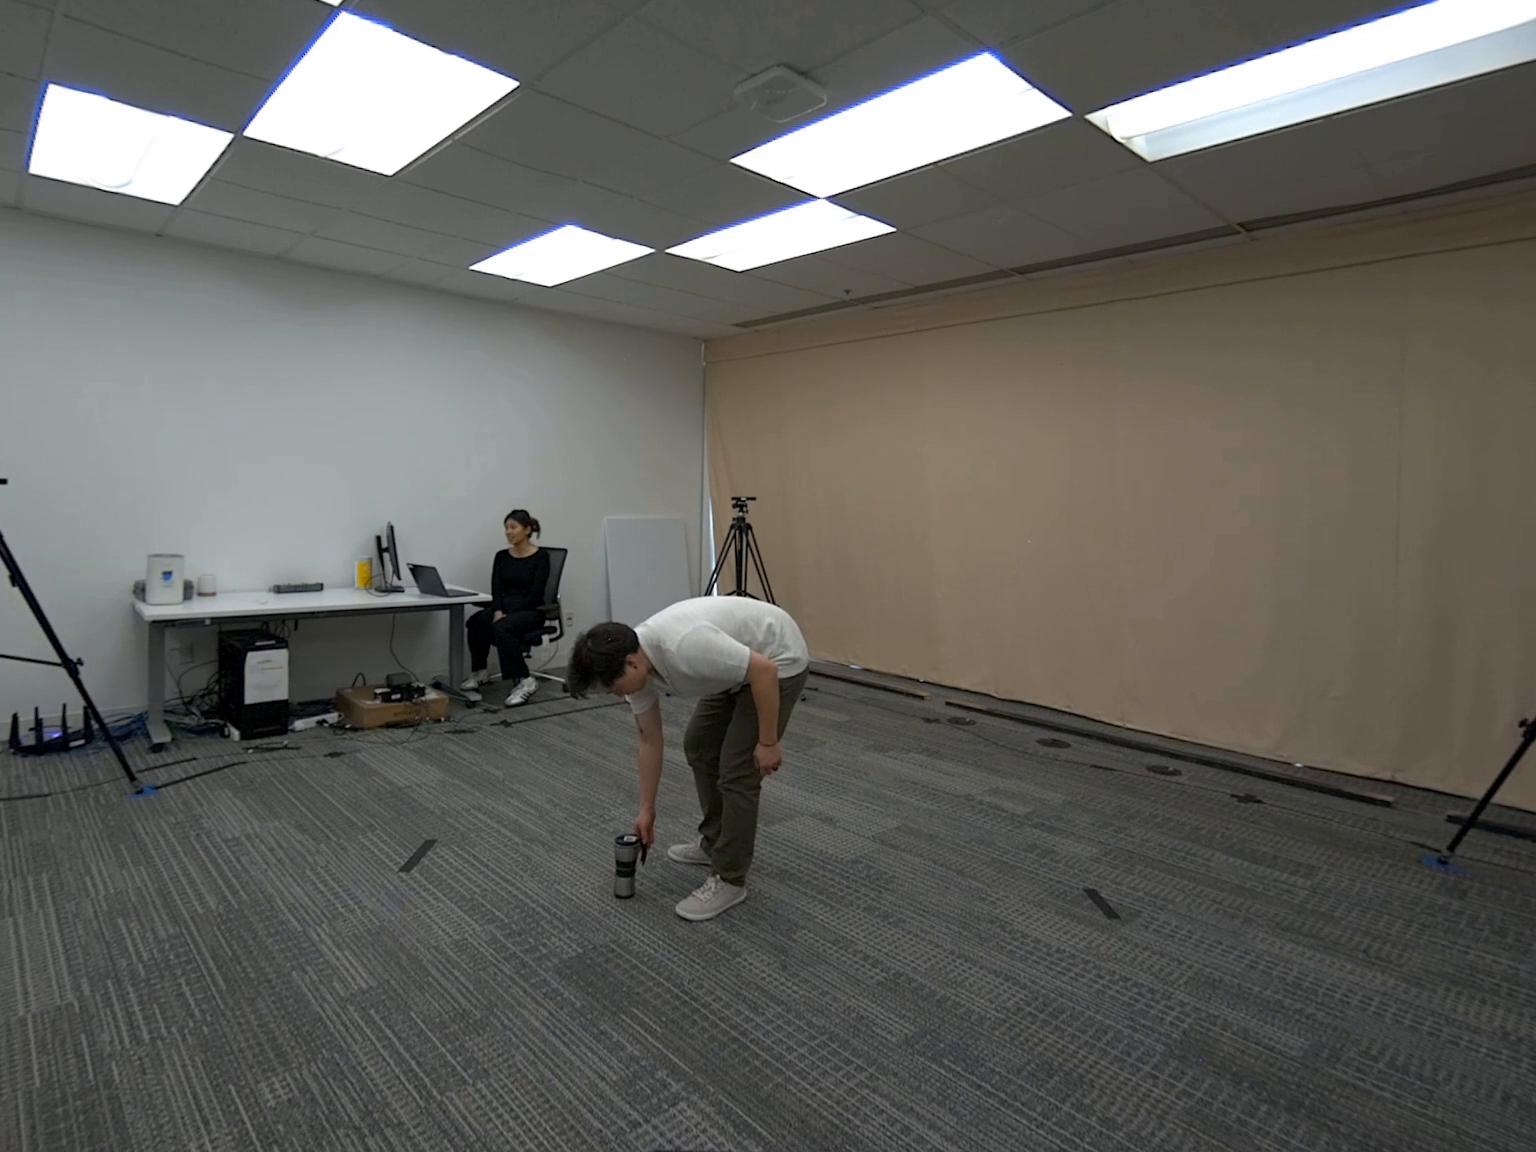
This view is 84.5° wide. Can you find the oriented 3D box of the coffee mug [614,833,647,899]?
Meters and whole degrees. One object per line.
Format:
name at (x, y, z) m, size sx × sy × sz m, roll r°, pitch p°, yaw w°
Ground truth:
coffee mug at (-0.478, 1.011, 2.940) m, size 0.121 × 0.203 × 0.089 m, roll 0°, pitch 1°, yaw -12°
